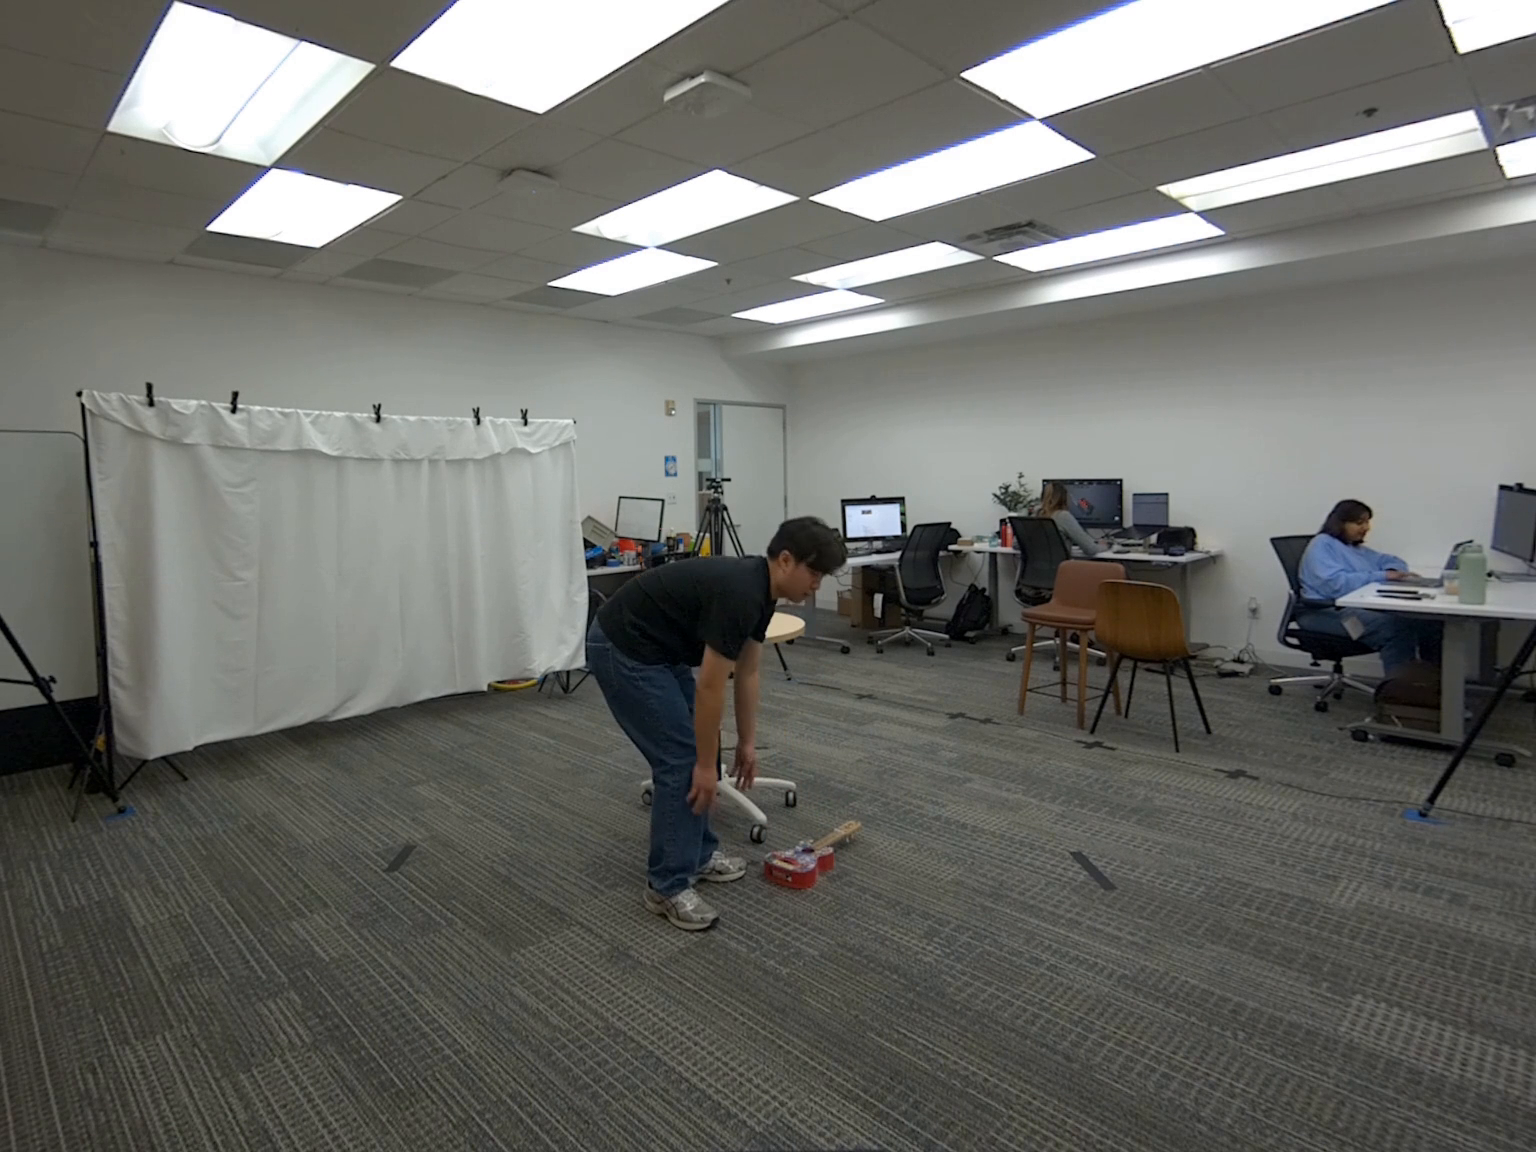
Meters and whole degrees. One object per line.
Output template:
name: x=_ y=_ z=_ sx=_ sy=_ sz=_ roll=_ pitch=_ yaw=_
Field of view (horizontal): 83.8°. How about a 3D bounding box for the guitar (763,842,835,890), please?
guitar: x=0.216 y=1.005 z=3.101 sx=0.485 sy=0.070 sz=0.199 roll=-7 pitch=9 yaw=-41
